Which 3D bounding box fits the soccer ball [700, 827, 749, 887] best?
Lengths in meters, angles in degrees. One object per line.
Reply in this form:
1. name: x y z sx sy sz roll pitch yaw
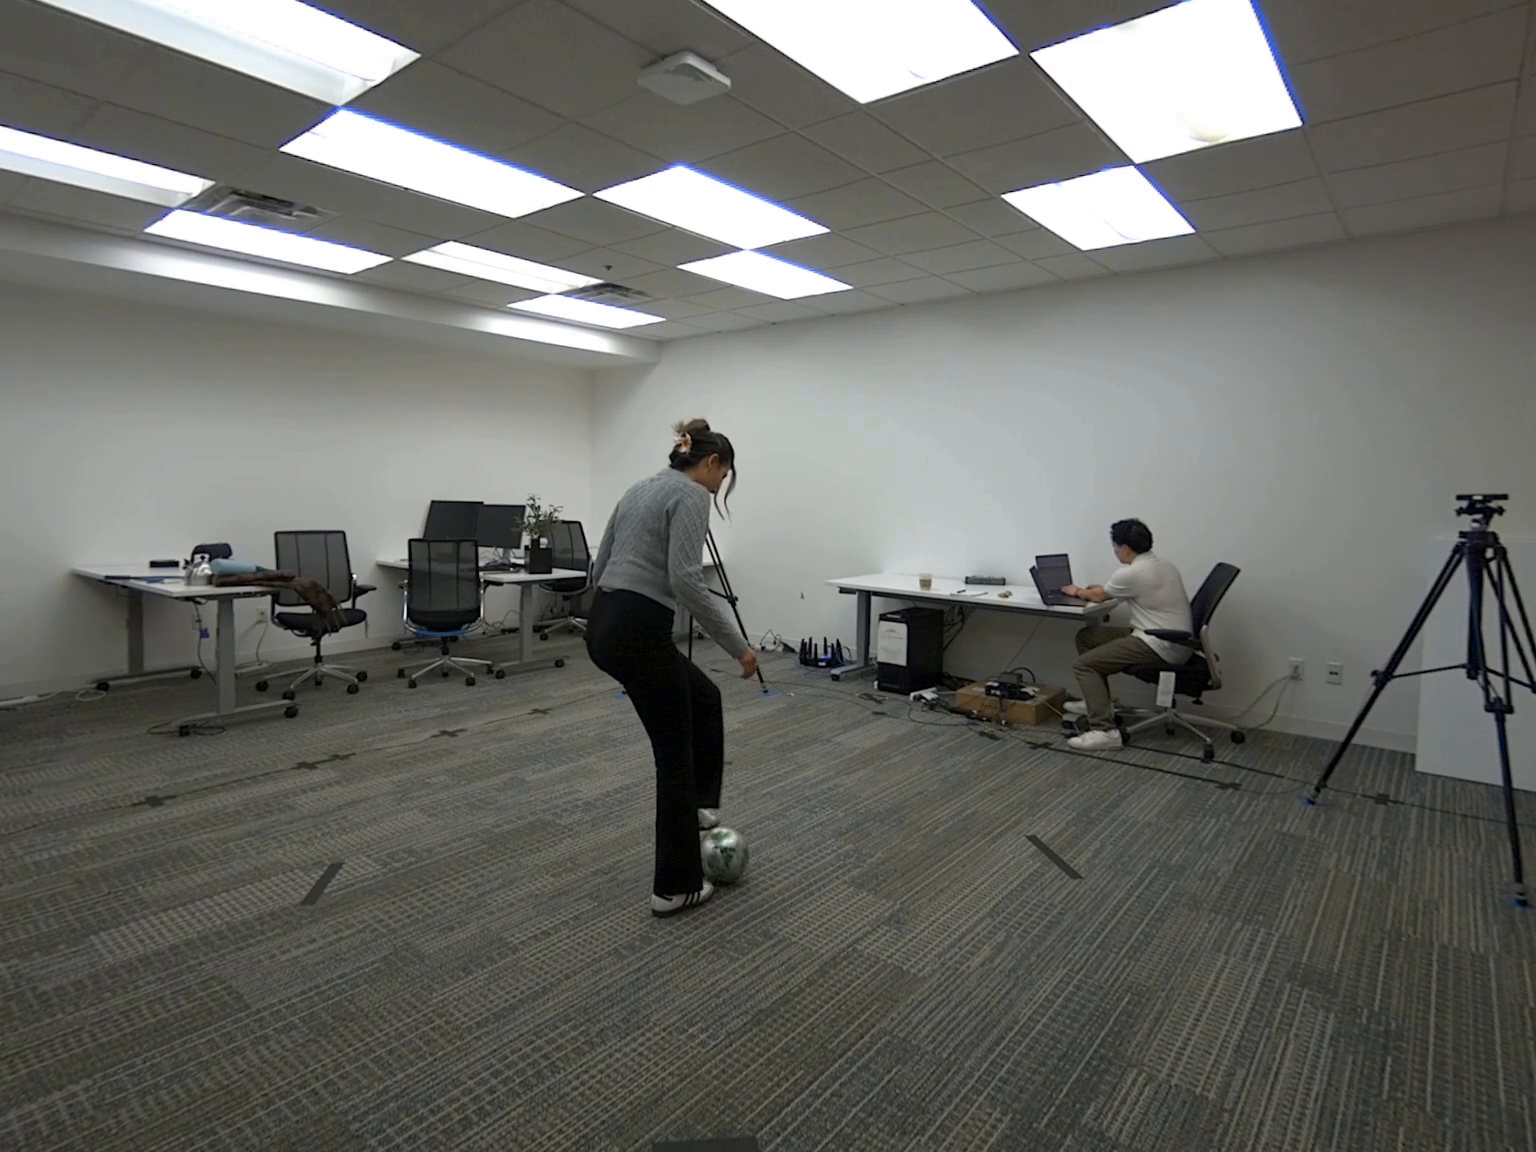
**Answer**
1. soccer ball: -0.171 0.986 3.006 0.187 0.187 0.188 1 4 -2
